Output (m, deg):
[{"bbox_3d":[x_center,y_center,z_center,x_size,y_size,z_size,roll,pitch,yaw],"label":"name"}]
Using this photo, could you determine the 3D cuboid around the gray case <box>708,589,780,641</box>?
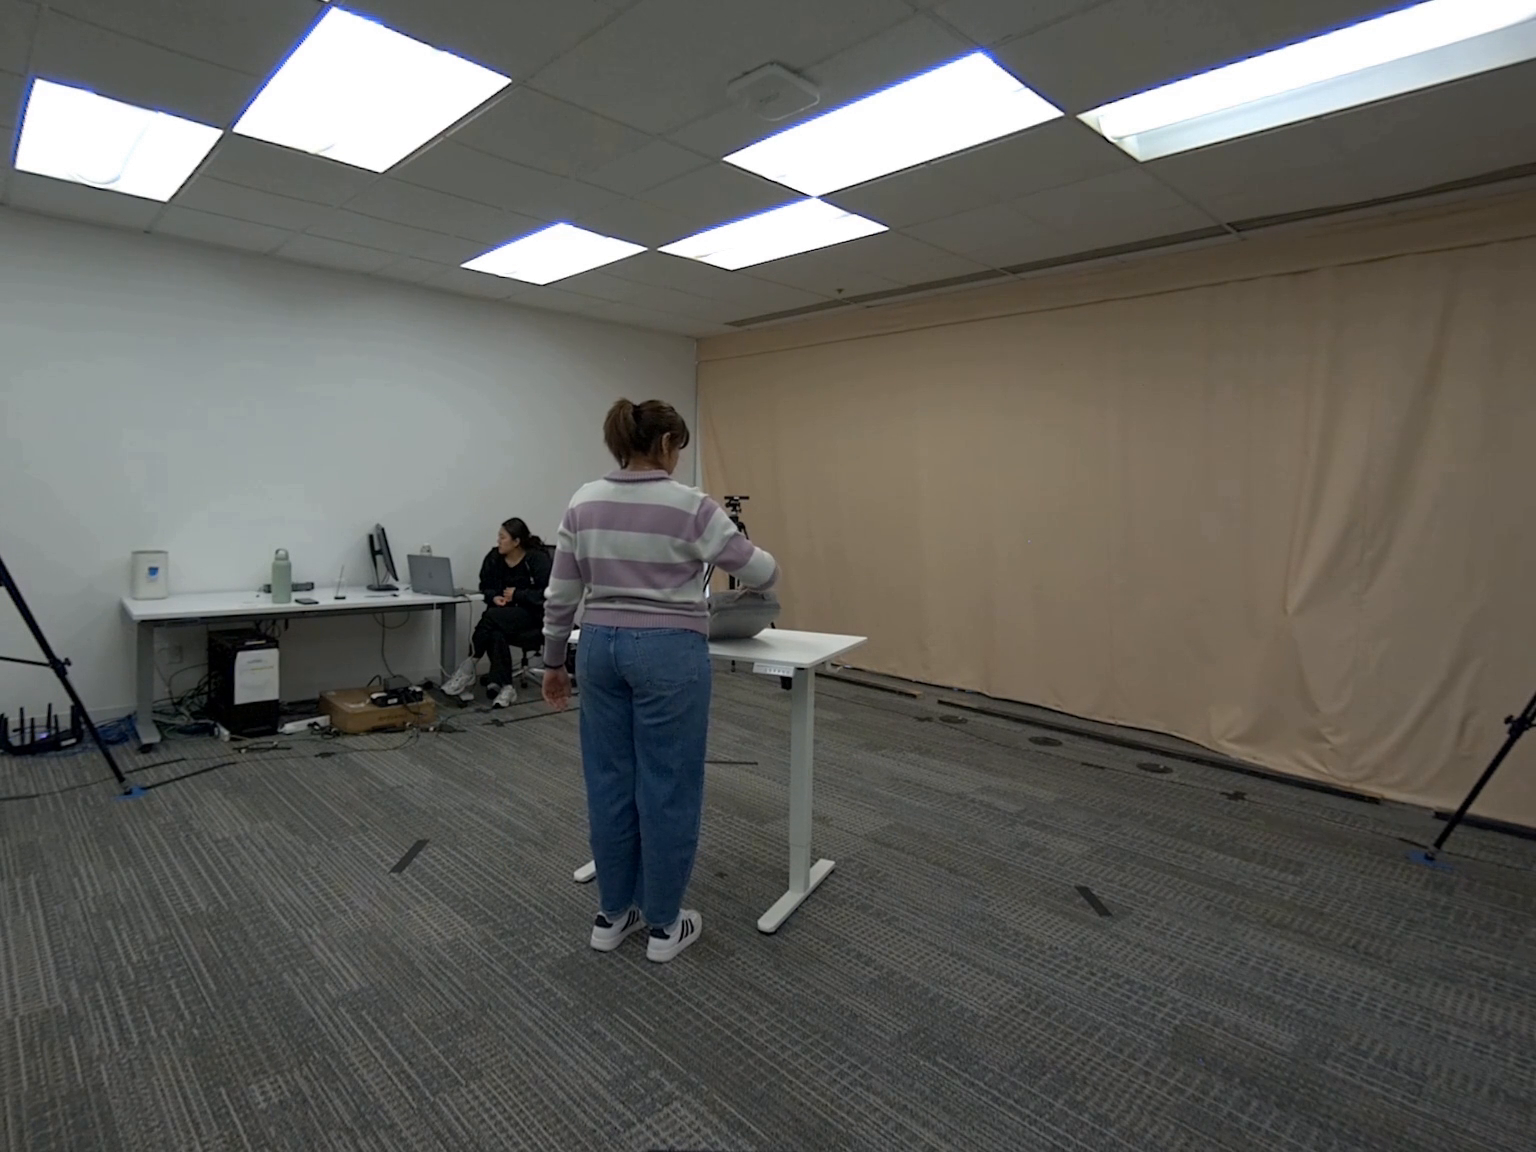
[{"bbox_3d":[-0.126,0.134,2.944,0.252,0.106,0.260,1,-24,-24],"label":"gray case"}]
